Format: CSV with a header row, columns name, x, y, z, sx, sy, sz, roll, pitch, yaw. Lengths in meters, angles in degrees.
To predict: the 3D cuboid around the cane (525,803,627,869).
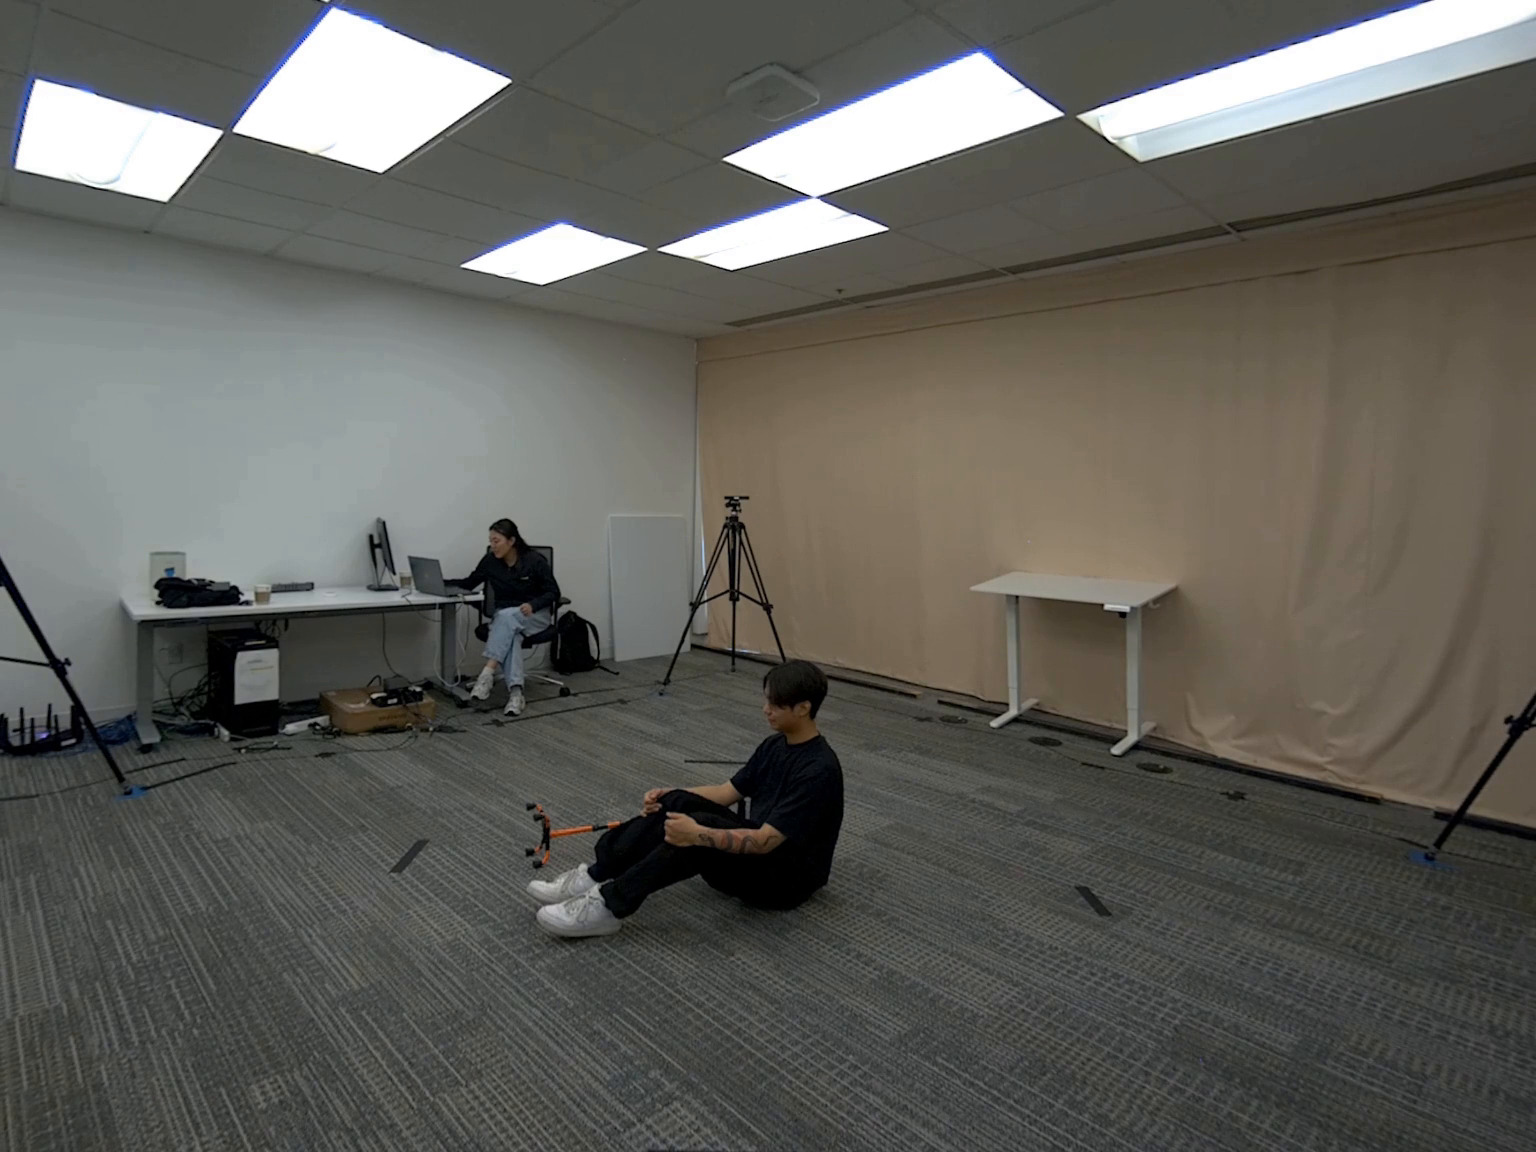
name,x,y,z,sx,sy,sz,roll,pitch,yaw
cane,-0.502,0.963,3.375,0.891,0.206,0.155,-1,3,-26
